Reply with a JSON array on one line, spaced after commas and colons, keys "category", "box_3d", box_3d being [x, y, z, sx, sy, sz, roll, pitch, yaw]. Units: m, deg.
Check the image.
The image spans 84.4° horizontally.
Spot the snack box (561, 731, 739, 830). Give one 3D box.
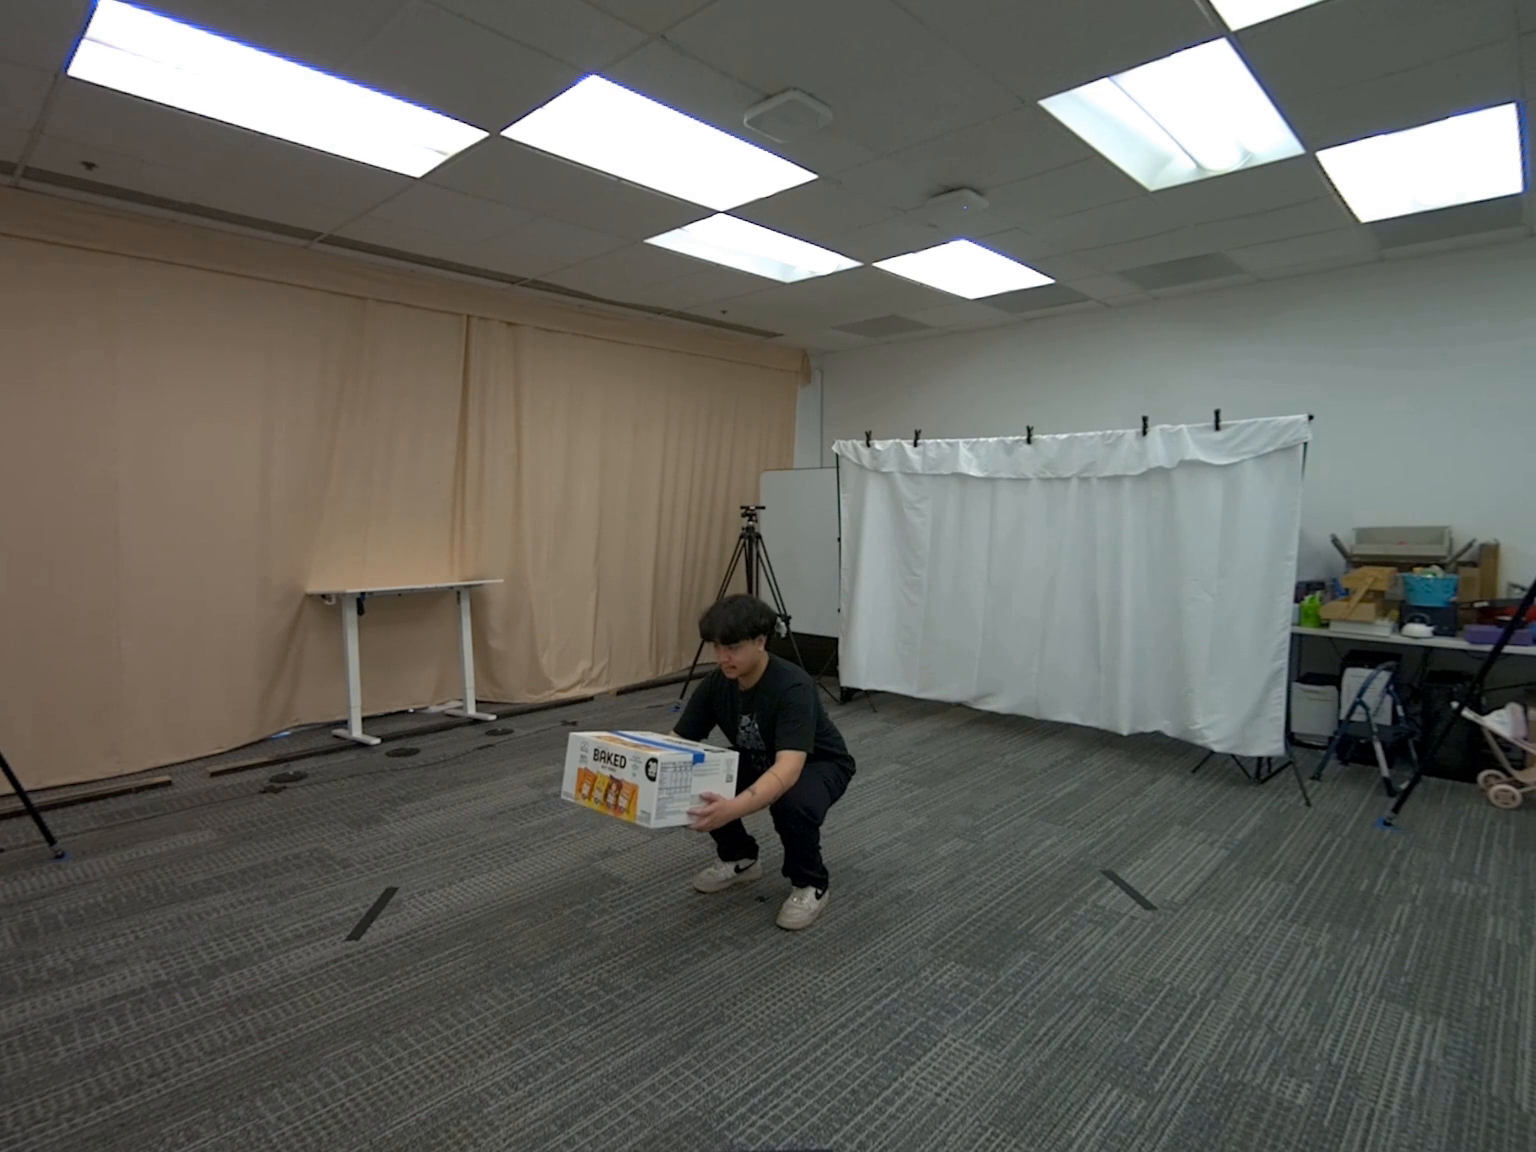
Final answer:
[{"category": "snack box", "box_3d": [-0.356, 0.598, 2.571, 0.418, 0.206, 0.328, 2, -6, 41]}]
